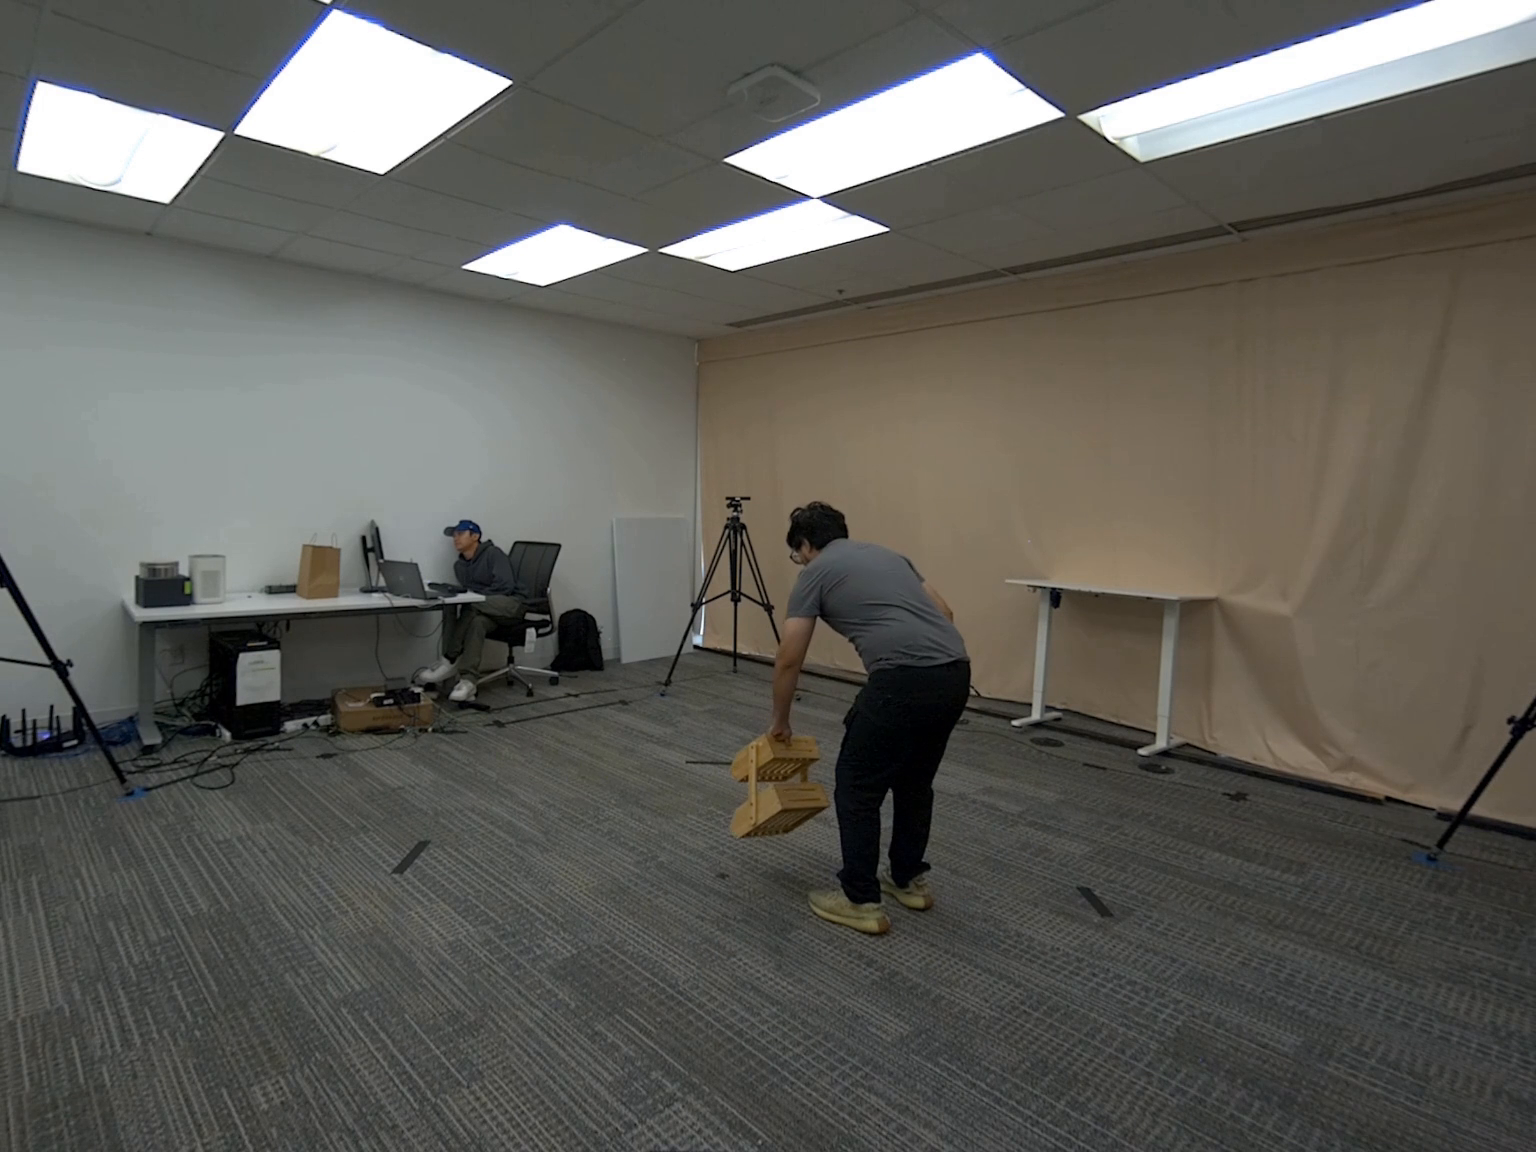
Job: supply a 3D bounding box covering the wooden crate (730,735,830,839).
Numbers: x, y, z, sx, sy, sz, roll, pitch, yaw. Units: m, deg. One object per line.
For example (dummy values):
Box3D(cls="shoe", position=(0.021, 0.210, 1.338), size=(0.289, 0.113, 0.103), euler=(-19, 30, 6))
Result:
Box3D(cls="wooden crate", position=(0.010, 0.765, 3.094), size=(0.303, 0.280, 0.315), euler=(-40, -33, 26))
